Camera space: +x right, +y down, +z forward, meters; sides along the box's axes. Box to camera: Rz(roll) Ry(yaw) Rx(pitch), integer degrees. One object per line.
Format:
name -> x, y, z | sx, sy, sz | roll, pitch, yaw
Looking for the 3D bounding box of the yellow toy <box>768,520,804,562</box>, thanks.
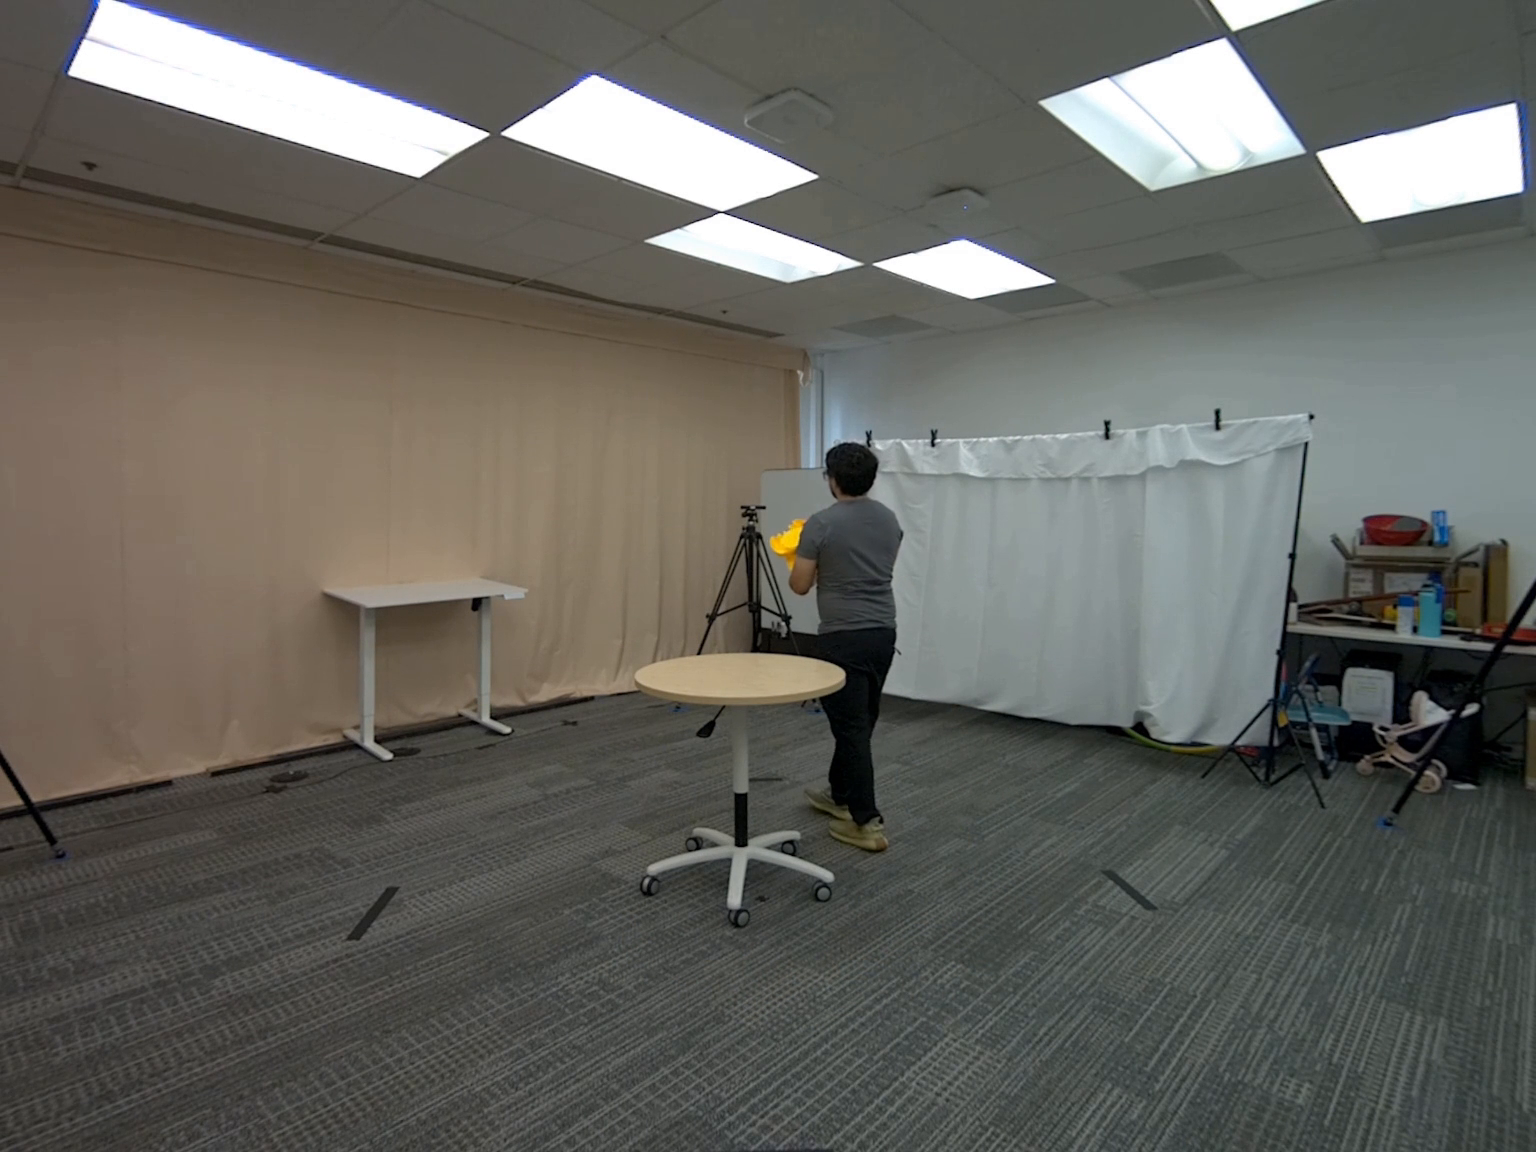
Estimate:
yellow toy -> 0.154, -0.099, 3.819 | 0.204, 0.224, 0.200 | -35, 40, -10
